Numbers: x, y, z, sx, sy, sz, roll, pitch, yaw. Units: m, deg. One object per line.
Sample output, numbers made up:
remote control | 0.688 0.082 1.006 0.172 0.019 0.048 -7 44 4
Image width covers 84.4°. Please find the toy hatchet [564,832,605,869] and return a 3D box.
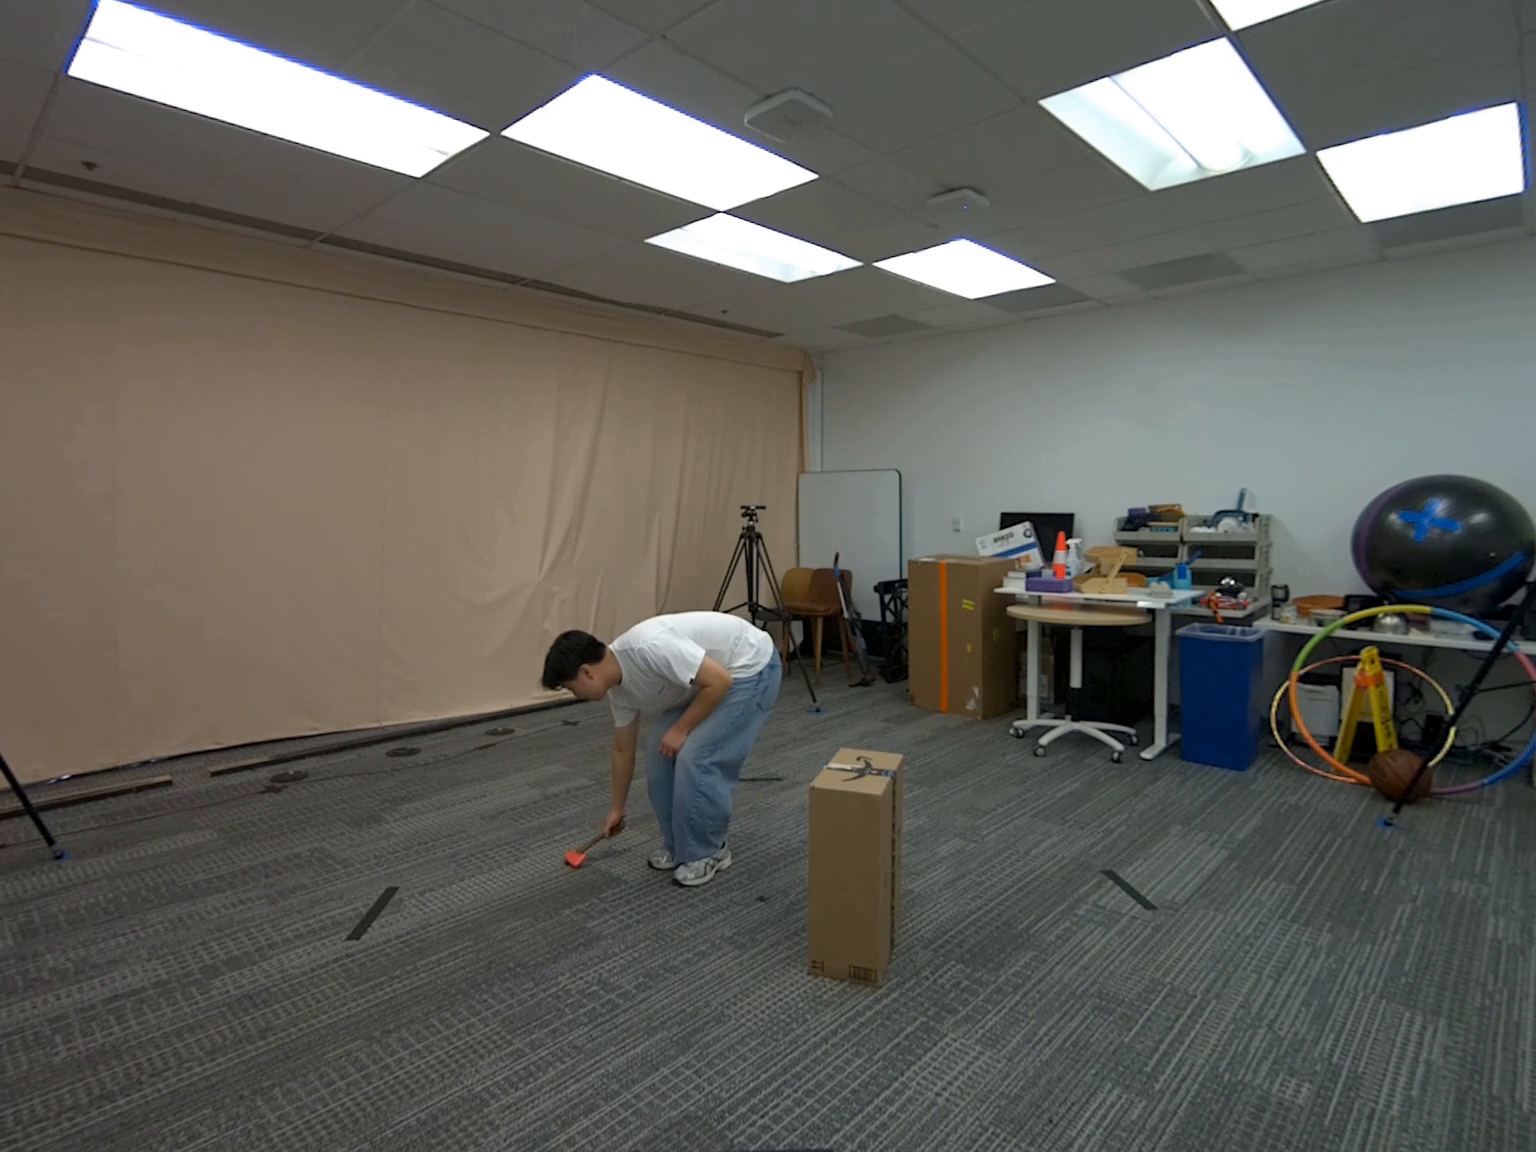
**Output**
toy hatchet | -0.678 1.050 3.297 0.270 0.029 0.133 -26 17 0
